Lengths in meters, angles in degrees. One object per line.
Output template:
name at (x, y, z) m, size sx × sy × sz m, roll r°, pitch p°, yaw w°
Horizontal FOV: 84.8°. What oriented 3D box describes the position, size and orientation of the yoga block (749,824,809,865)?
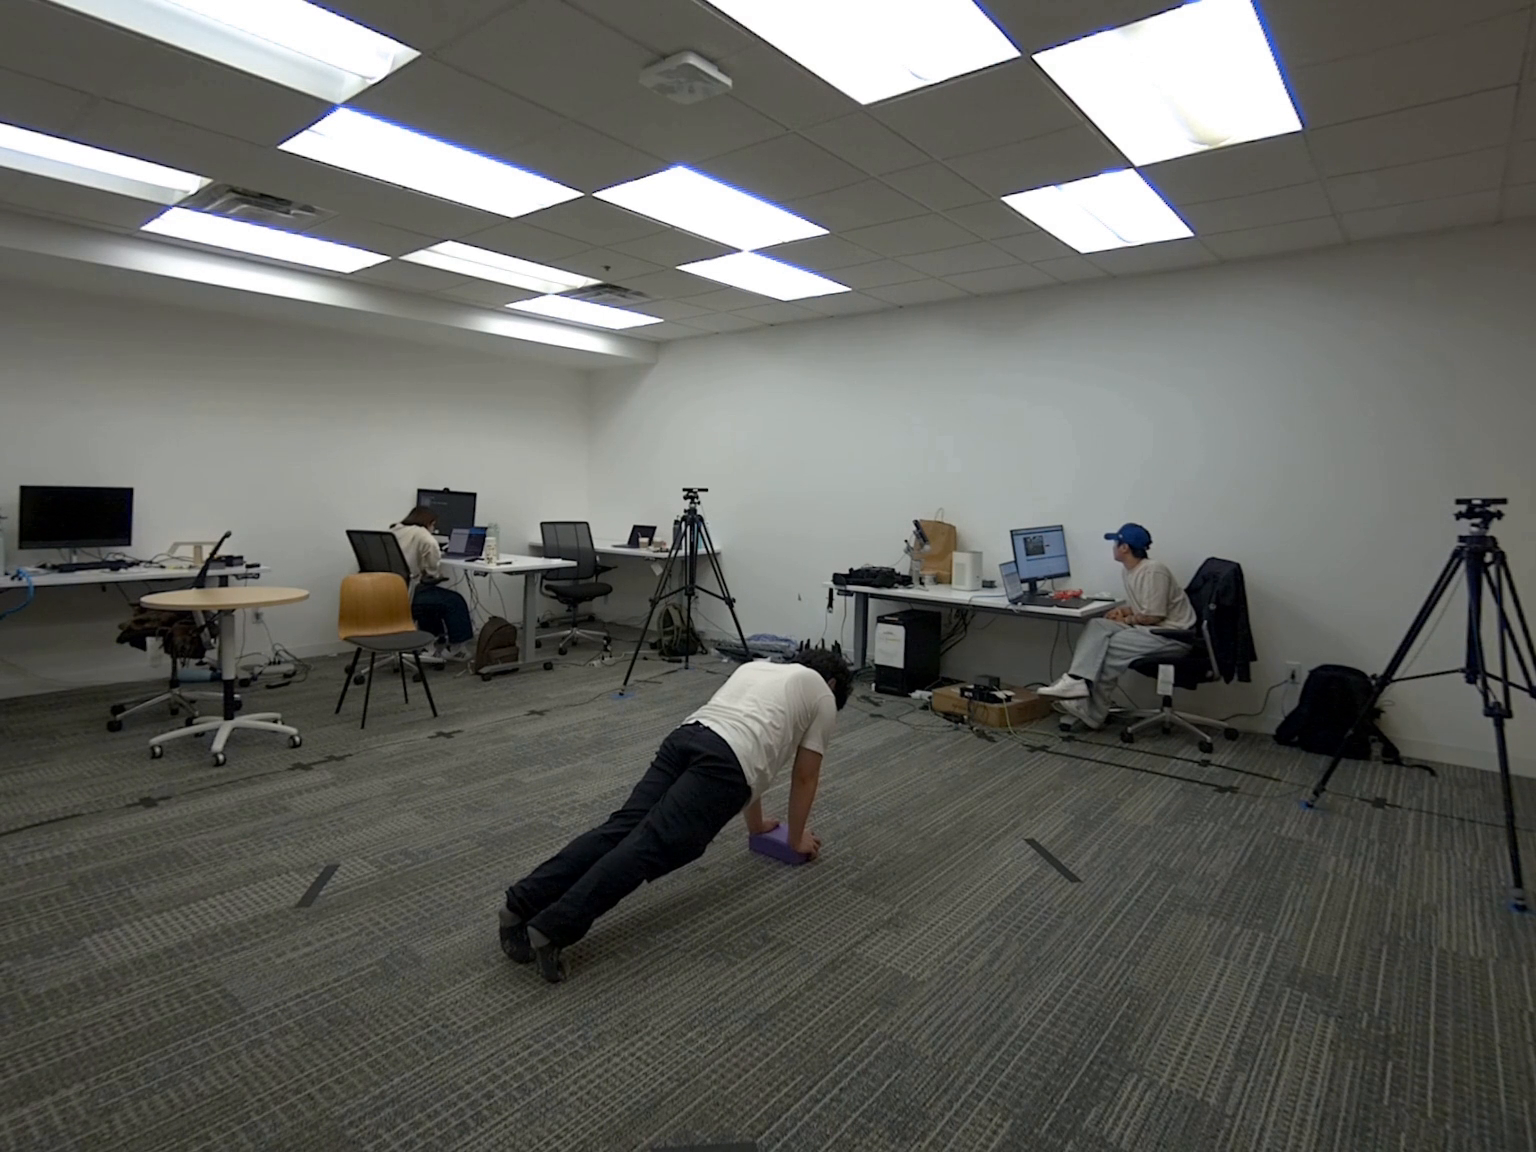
yoga block at (0.048, 1.025, 3.276) m, size 0.237 × 0.076 × 0.145 m, roll 5°, pitch 7°, yaw 38°
